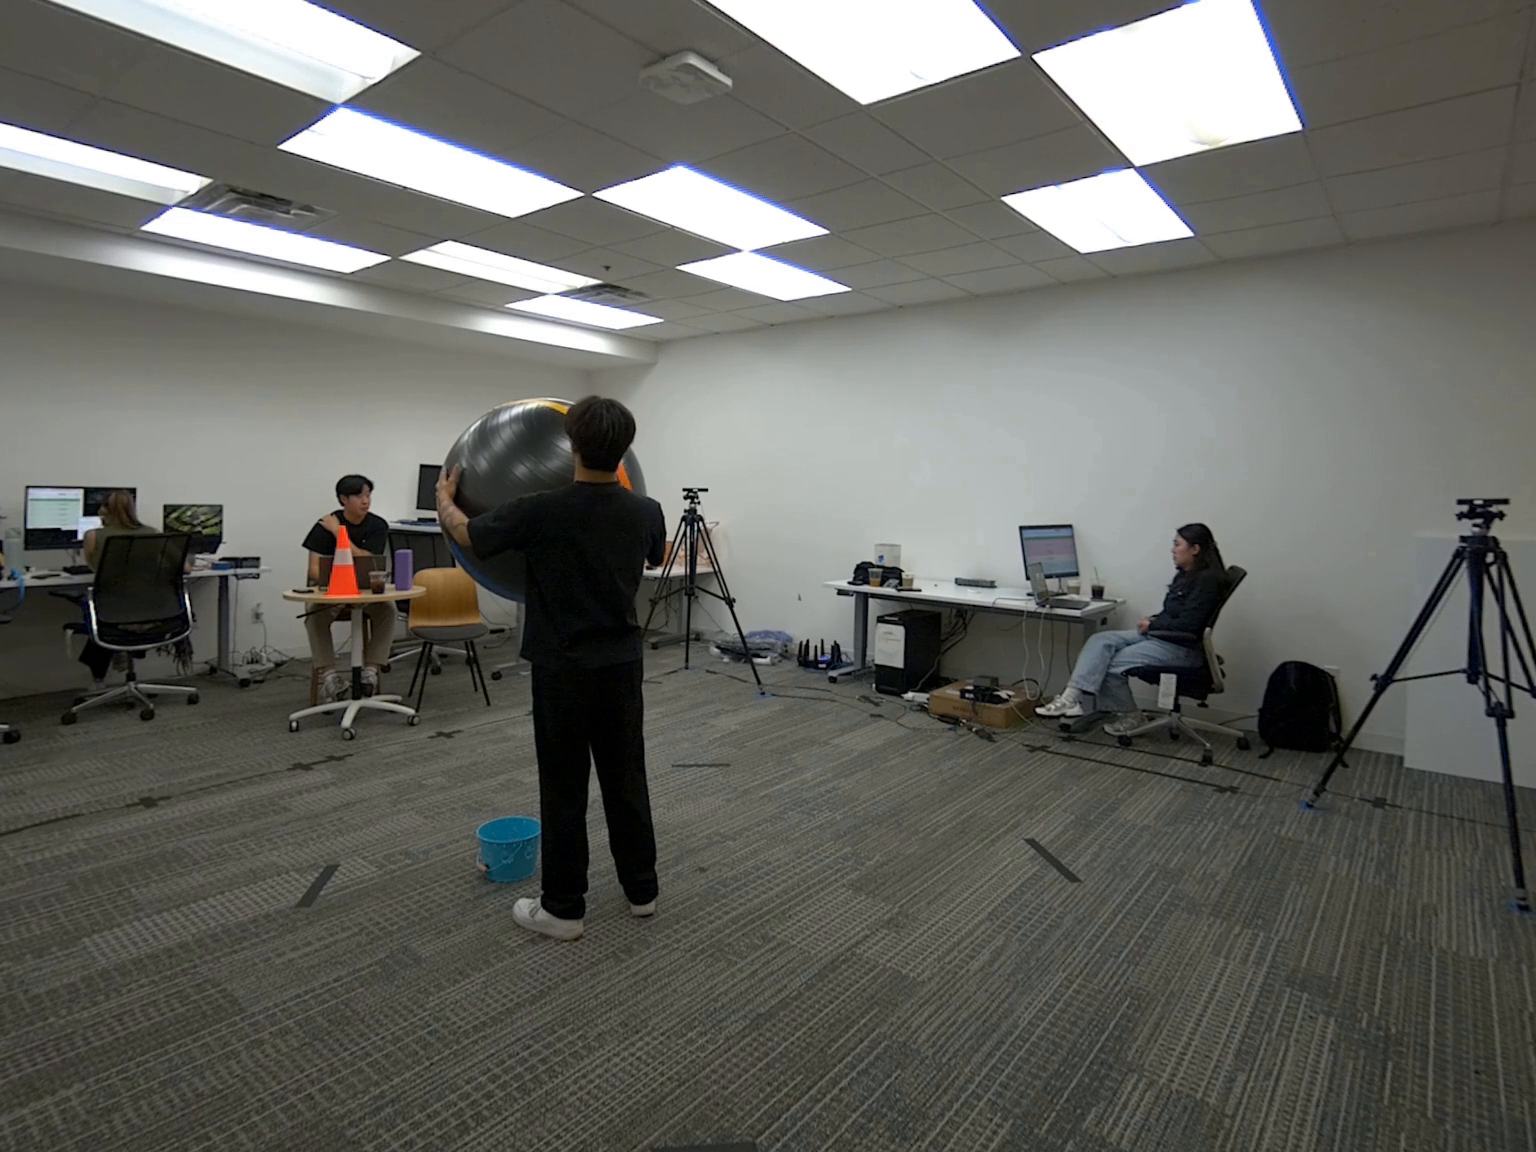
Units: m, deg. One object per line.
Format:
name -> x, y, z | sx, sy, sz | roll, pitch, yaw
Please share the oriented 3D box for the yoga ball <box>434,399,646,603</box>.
yoga ball -> -0.841, -0.272, 3.149 | 0.757, 0.756, 0.762 | 1, 4, -2
